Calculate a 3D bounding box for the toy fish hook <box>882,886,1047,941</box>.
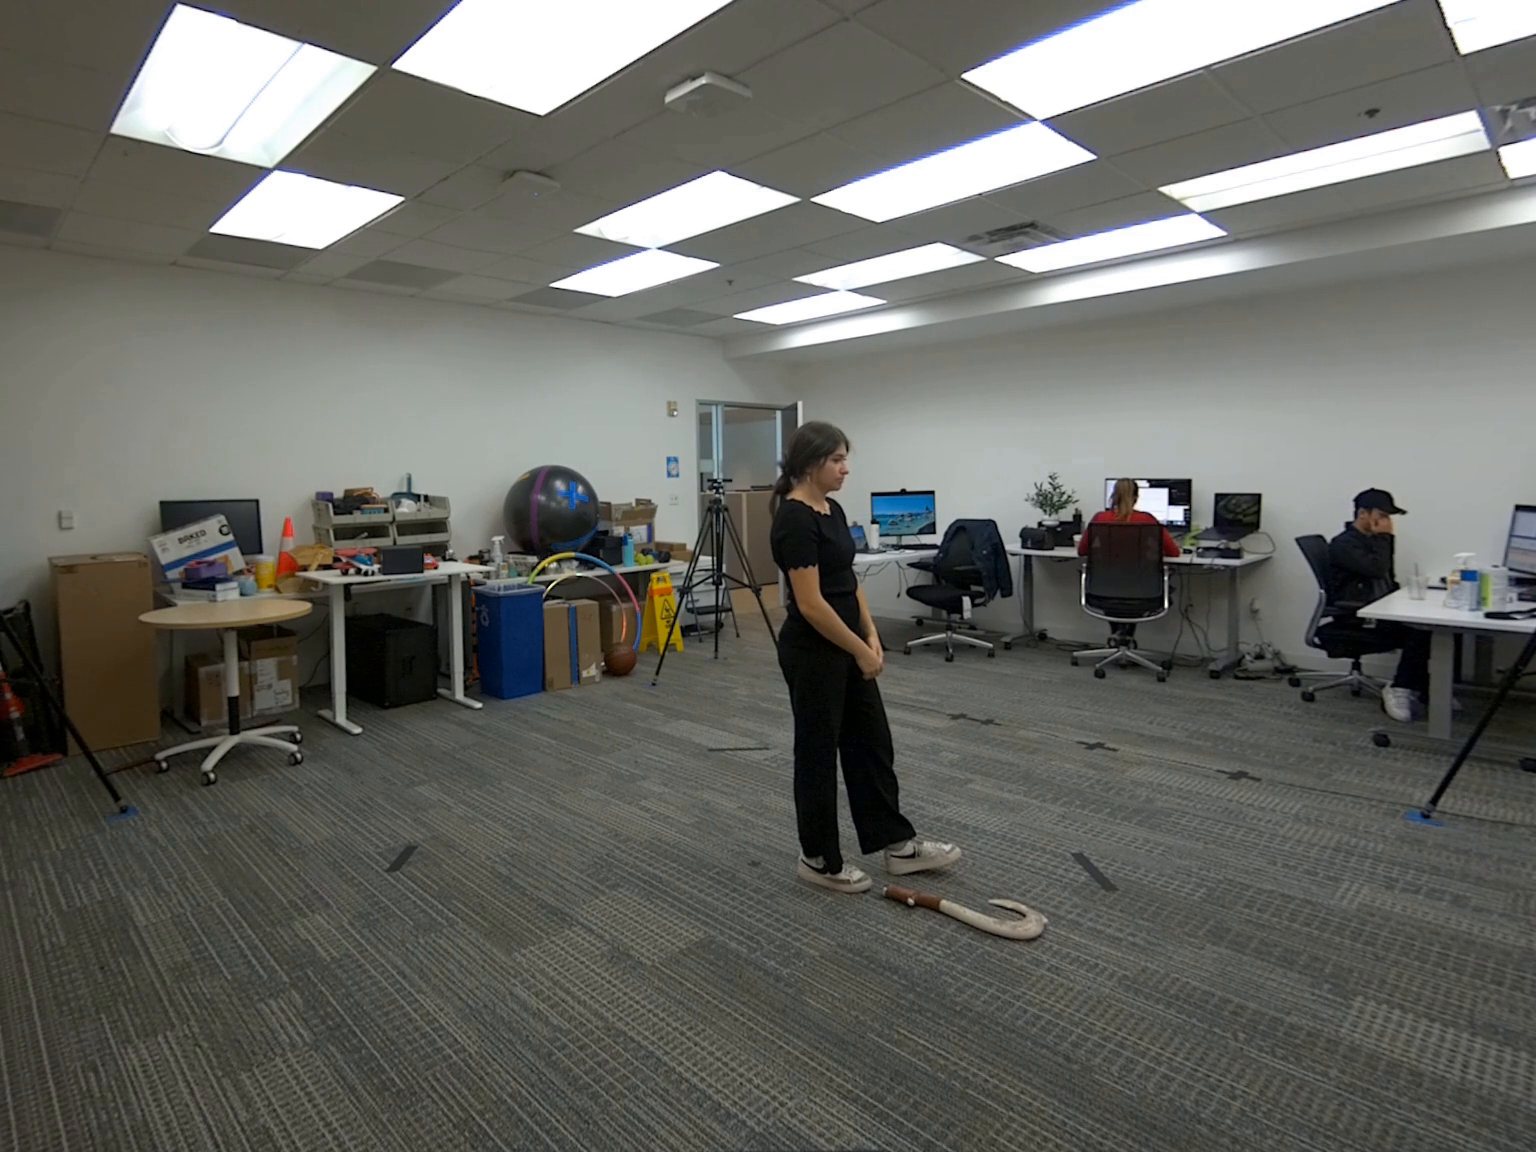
[{"bbox_3d":[0.624,1.057,2.747,0.521,0.048,0.218,4,0,33],"label":"toy fish hook"}]
